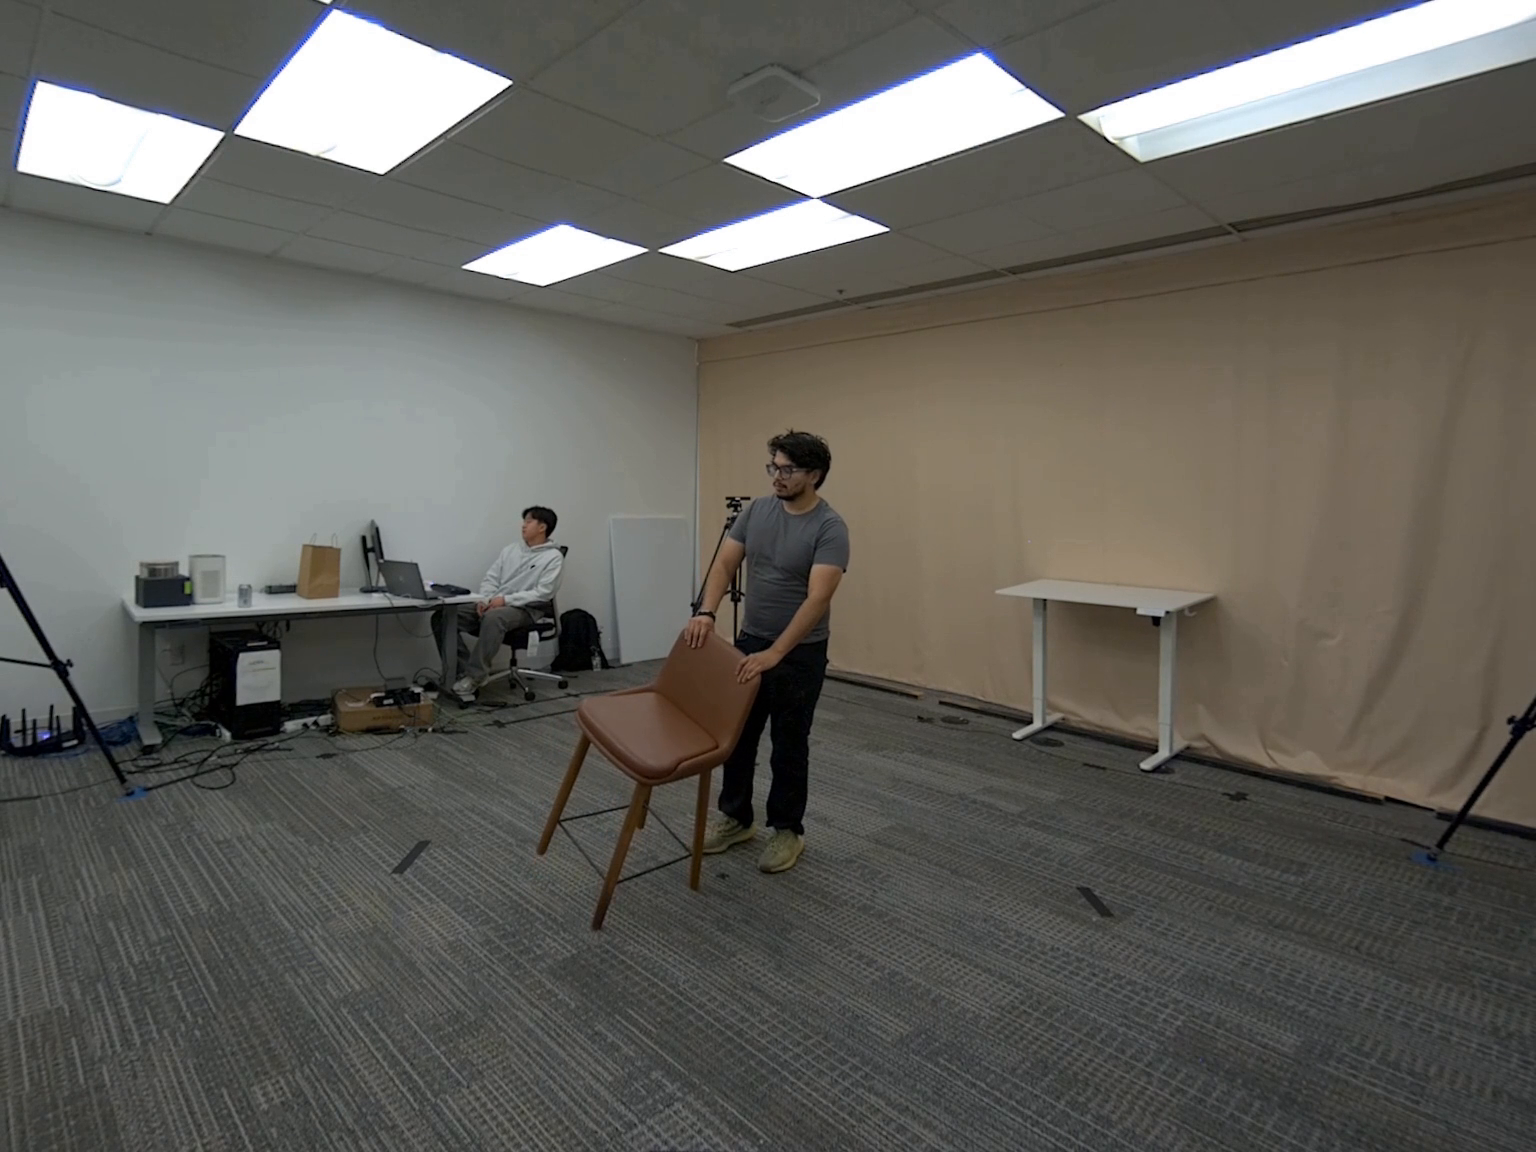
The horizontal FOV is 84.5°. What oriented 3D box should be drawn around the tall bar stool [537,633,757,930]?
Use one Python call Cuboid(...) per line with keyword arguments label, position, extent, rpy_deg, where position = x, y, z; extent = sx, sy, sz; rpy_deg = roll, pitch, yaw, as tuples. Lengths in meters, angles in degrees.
Cuboid(label="tall bar stool", position=(-0.410, 0.653, 2.857), extent=(0.456, 0.883, 0.471), rpy_deg=(2, 21, -44))
